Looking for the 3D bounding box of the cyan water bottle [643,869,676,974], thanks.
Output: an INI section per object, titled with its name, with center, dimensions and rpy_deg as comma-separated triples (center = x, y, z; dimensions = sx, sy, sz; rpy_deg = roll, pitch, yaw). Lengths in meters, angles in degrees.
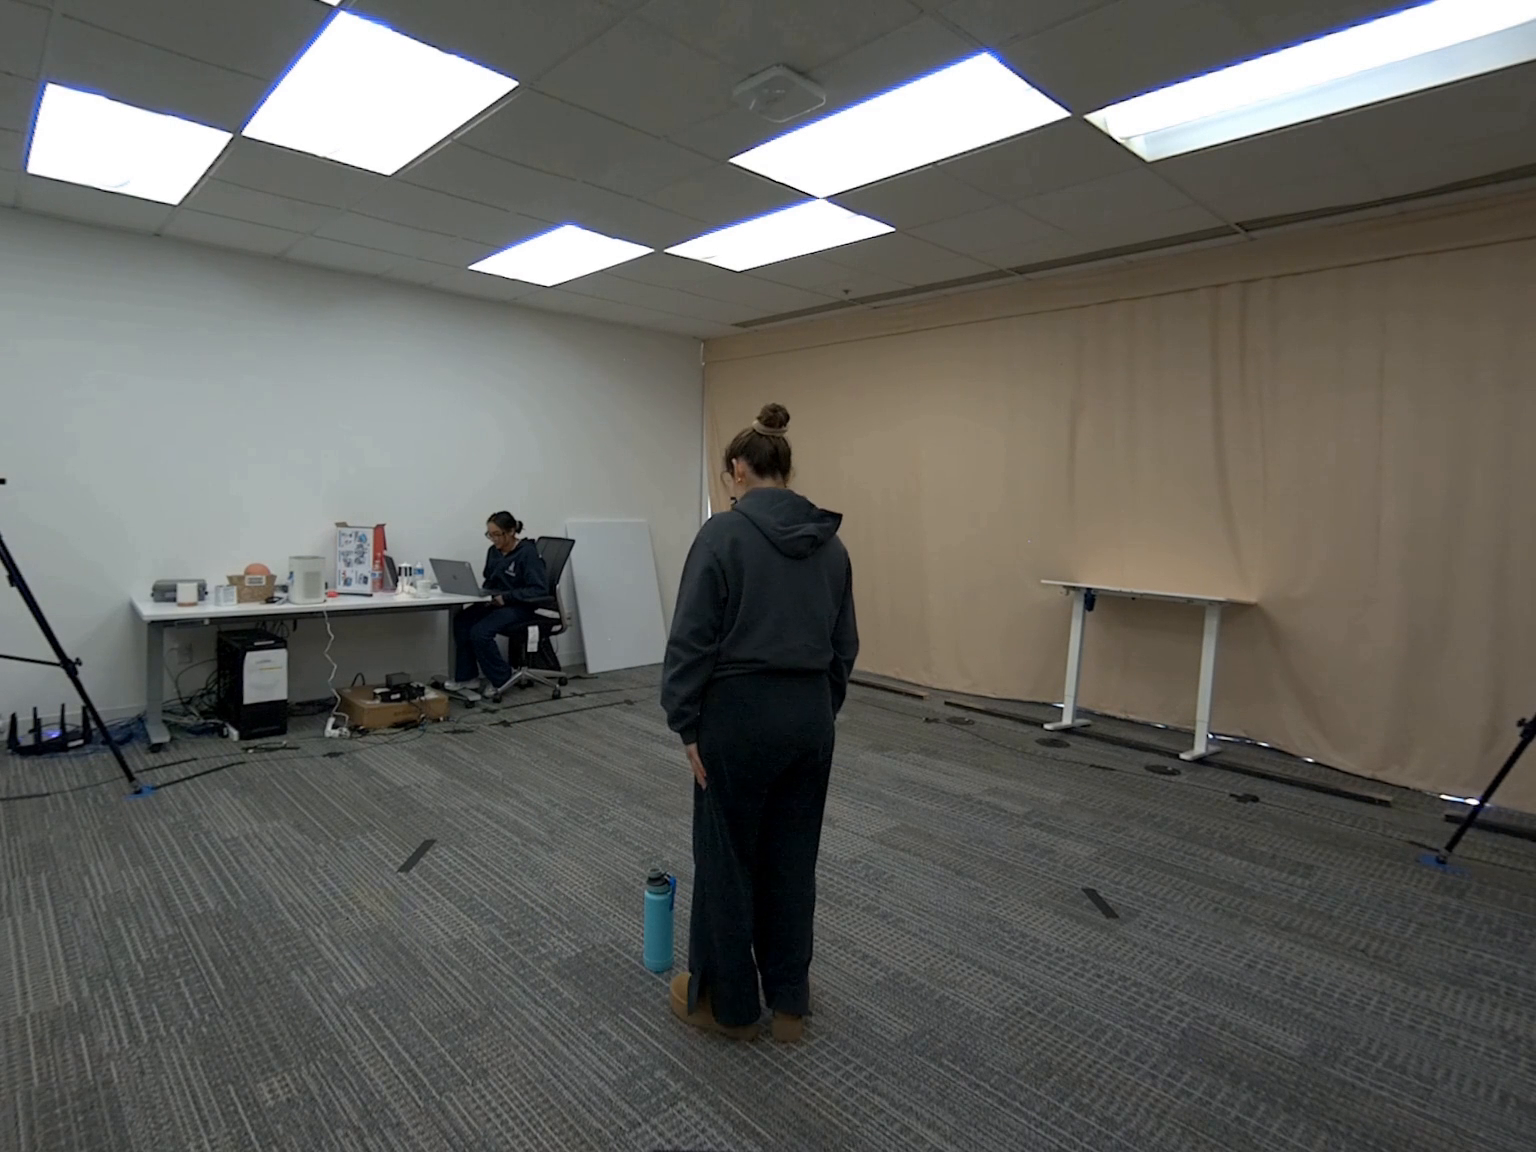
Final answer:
[cyan water bottle]
center = -0.325, 1.021, 2.507
dimensions = 0.092, 0.283, 0.092
rpy_deg = 3, 4, -2
